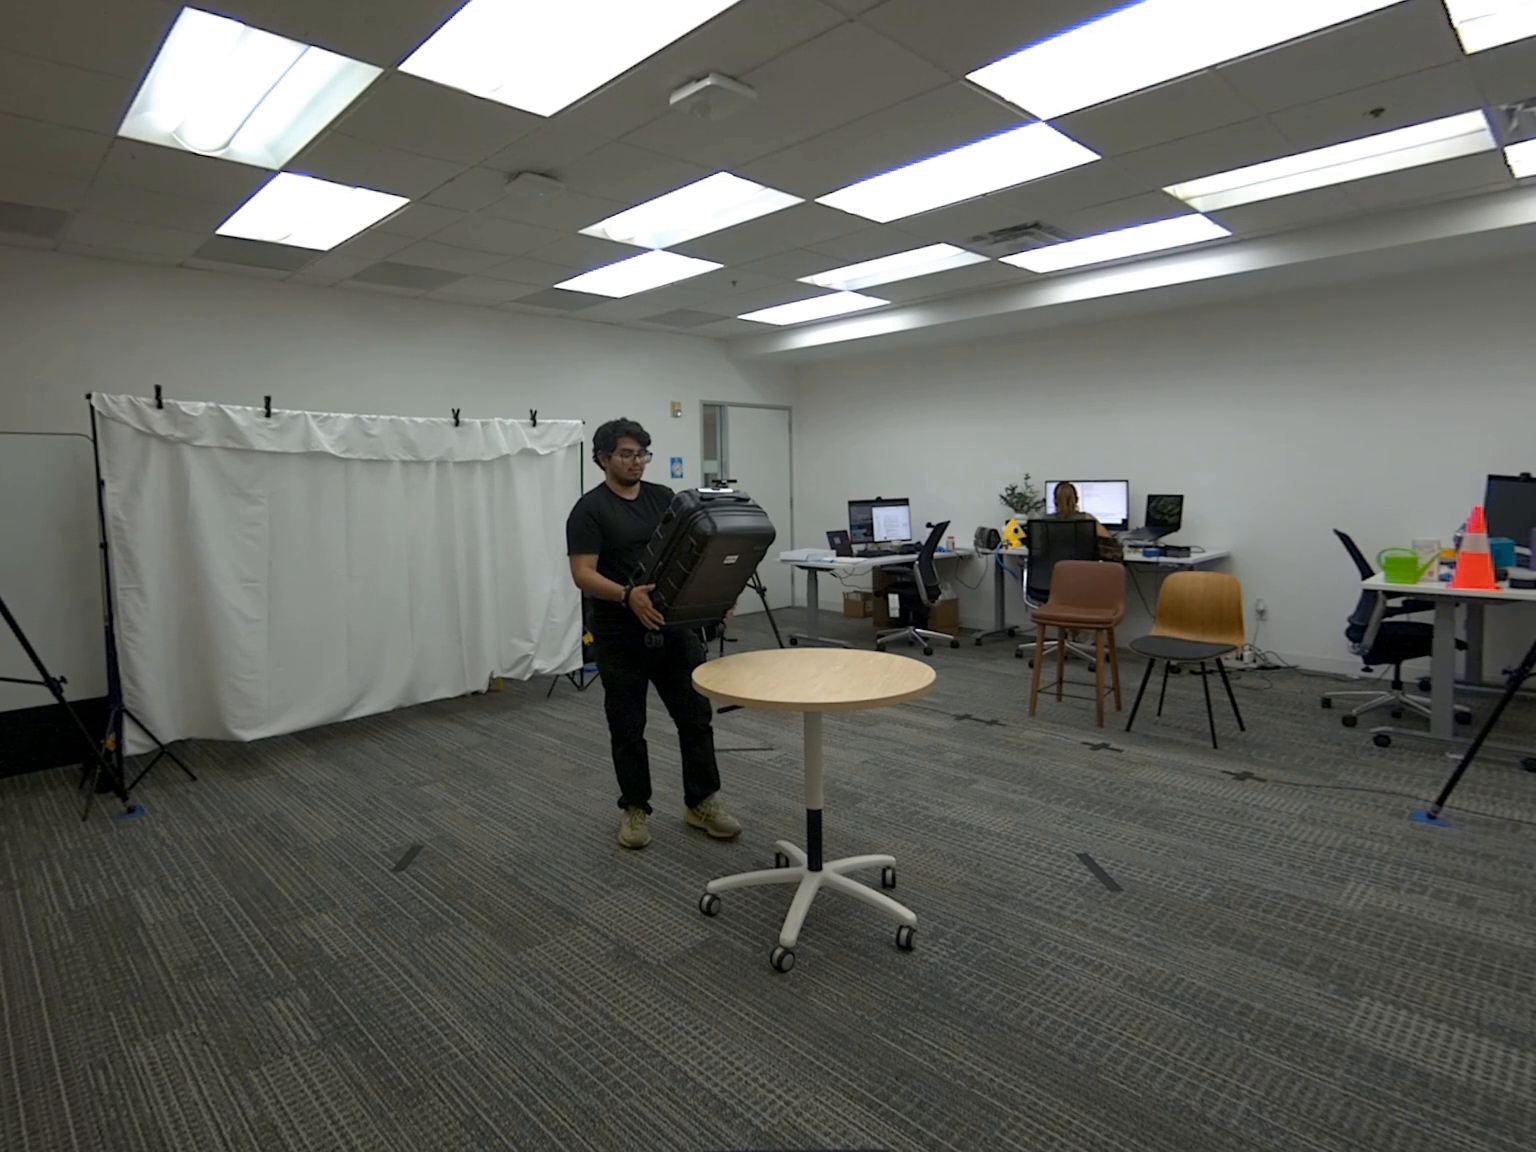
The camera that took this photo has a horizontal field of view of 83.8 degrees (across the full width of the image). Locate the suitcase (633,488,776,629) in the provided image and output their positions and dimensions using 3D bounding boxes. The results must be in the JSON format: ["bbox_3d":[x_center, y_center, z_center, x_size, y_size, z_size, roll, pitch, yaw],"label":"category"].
[{"bbox_3d":[-0.235,-0.048,3.020,0.365,0.545,0.257,-1,45,-41],"label":"suitcase"}]
